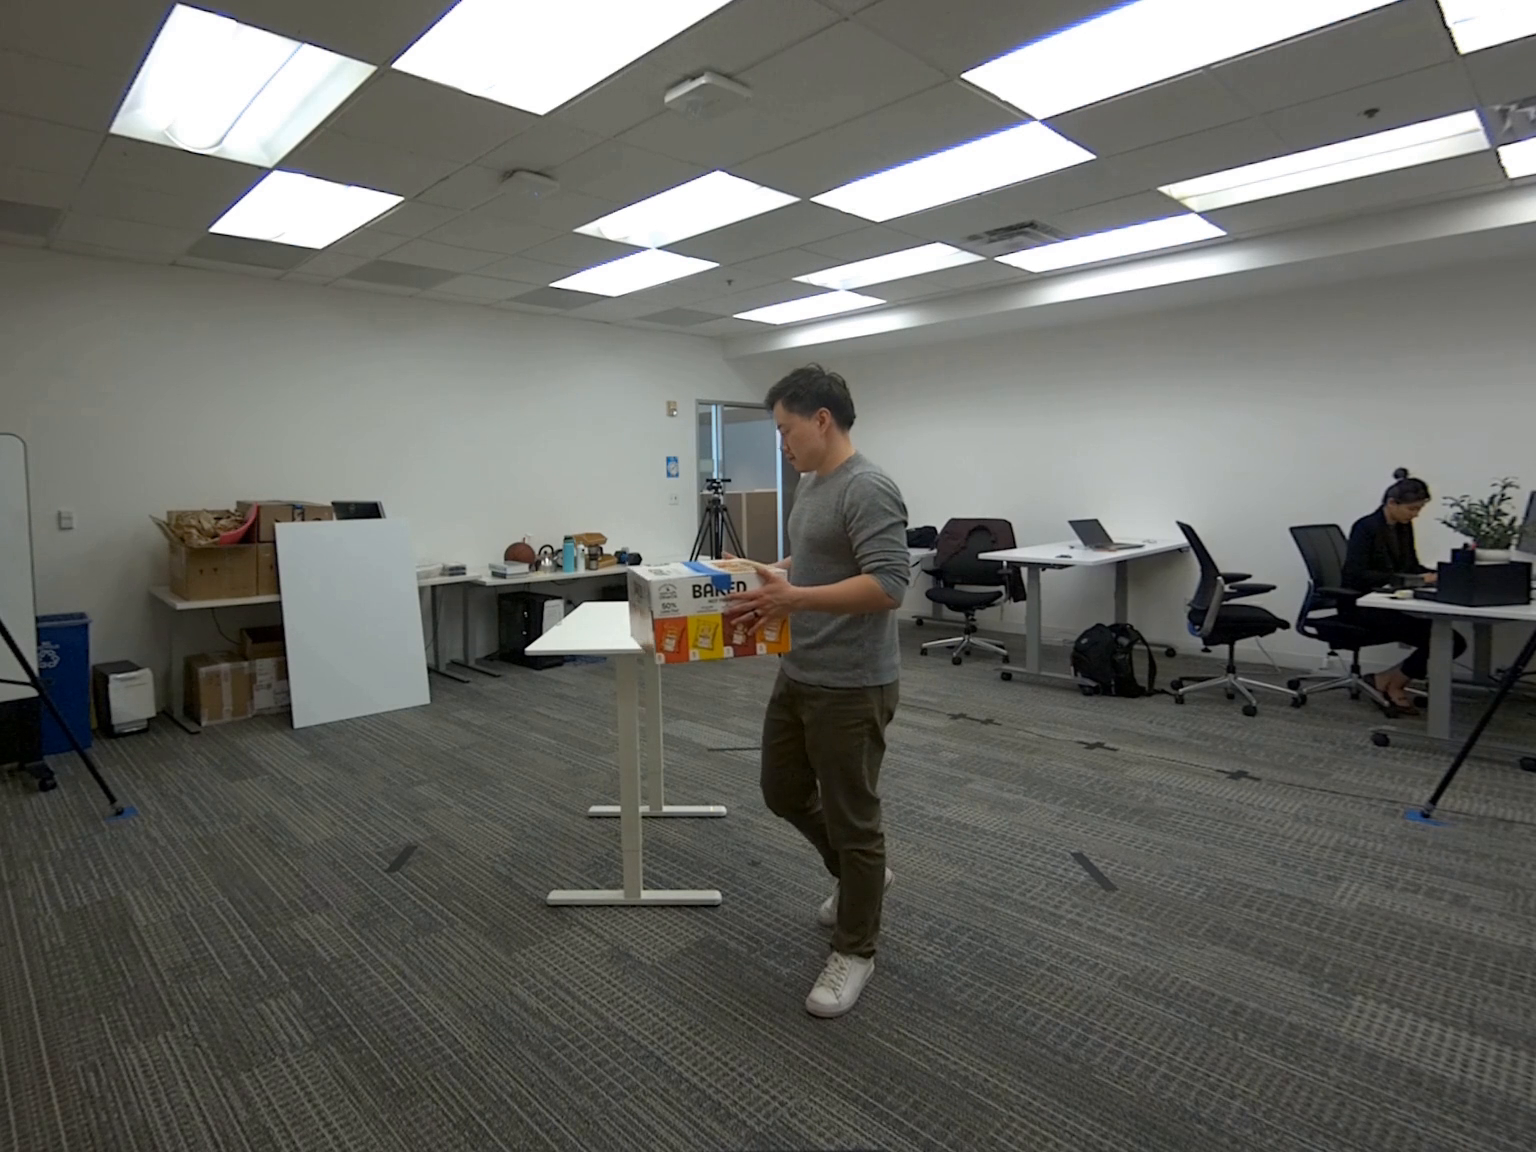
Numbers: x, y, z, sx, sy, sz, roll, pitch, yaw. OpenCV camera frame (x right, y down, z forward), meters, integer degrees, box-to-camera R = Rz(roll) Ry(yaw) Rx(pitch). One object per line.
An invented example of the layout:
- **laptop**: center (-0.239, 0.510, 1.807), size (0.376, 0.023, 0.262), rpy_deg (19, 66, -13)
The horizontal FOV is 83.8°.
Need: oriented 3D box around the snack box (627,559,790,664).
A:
- **snack box**: center (-0.164, 0.080, 2.236), size (0.336, 0.205, 0.412), rpy_deg (-4, 6, -16)
